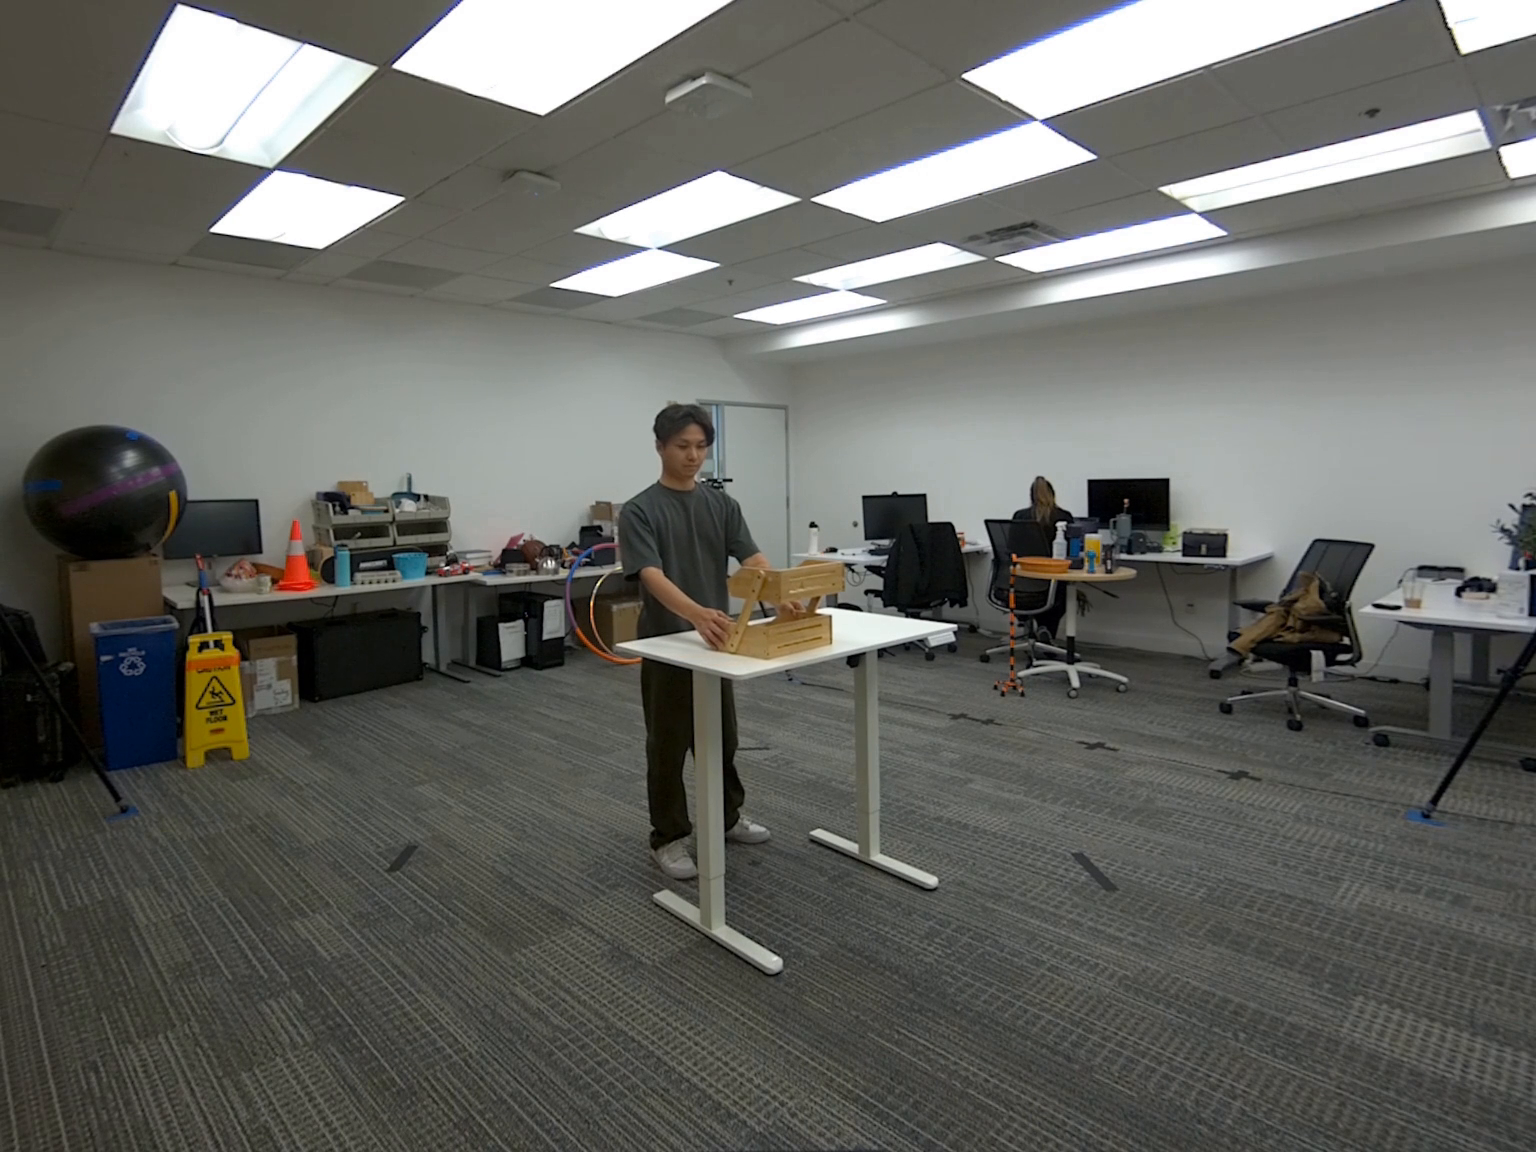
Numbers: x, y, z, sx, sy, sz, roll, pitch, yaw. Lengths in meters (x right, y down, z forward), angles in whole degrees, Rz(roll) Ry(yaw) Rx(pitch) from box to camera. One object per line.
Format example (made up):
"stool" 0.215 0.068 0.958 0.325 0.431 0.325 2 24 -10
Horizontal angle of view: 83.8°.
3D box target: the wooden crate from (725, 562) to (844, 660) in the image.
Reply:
"wooden crate" 0.029 0.086 2.600 0.311 0.272 0.316 4 8 43
